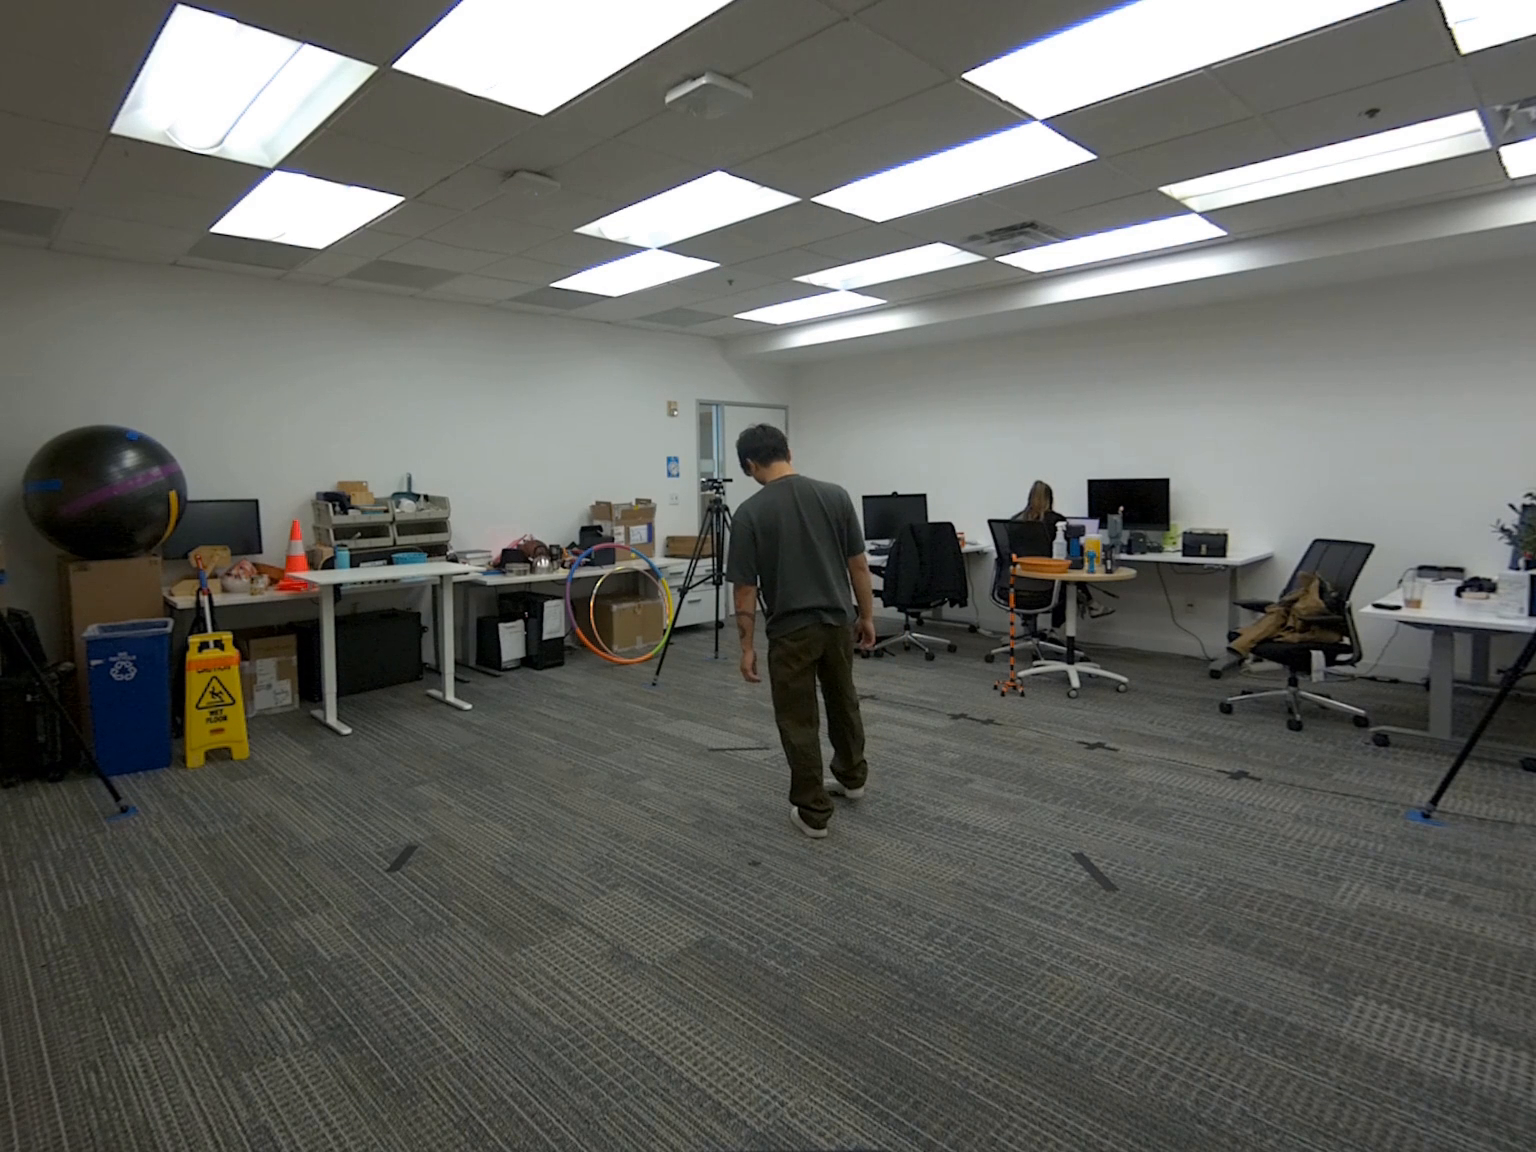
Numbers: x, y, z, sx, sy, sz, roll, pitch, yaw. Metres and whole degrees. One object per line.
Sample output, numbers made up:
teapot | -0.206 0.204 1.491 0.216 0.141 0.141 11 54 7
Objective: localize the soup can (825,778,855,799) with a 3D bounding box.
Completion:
soup can | 0.317 0.933 3.778 0.122 0.067 0.067 -3 4 9
